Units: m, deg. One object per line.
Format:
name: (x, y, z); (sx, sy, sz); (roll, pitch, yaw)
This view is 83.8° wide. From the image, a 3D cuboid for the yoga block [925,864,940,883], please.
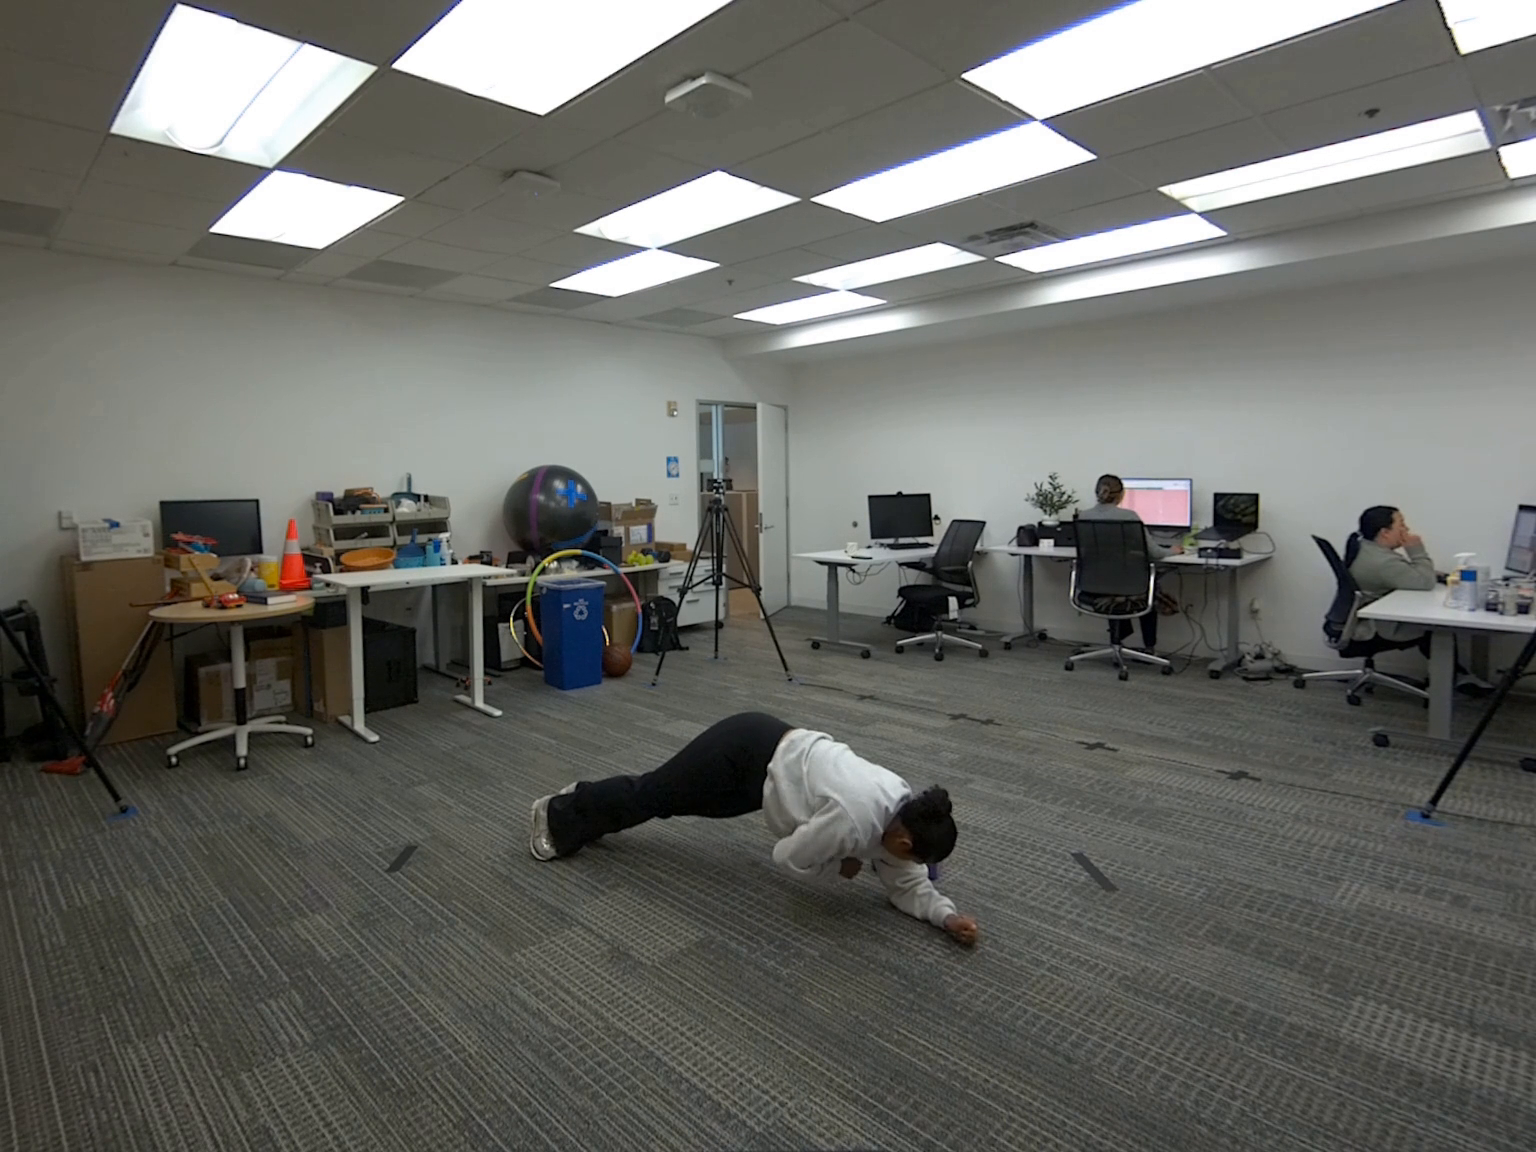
yoga block: (0.501, 0.999, 3.049); (0.234, 0.076, 0.146); (1, 6, 21)
